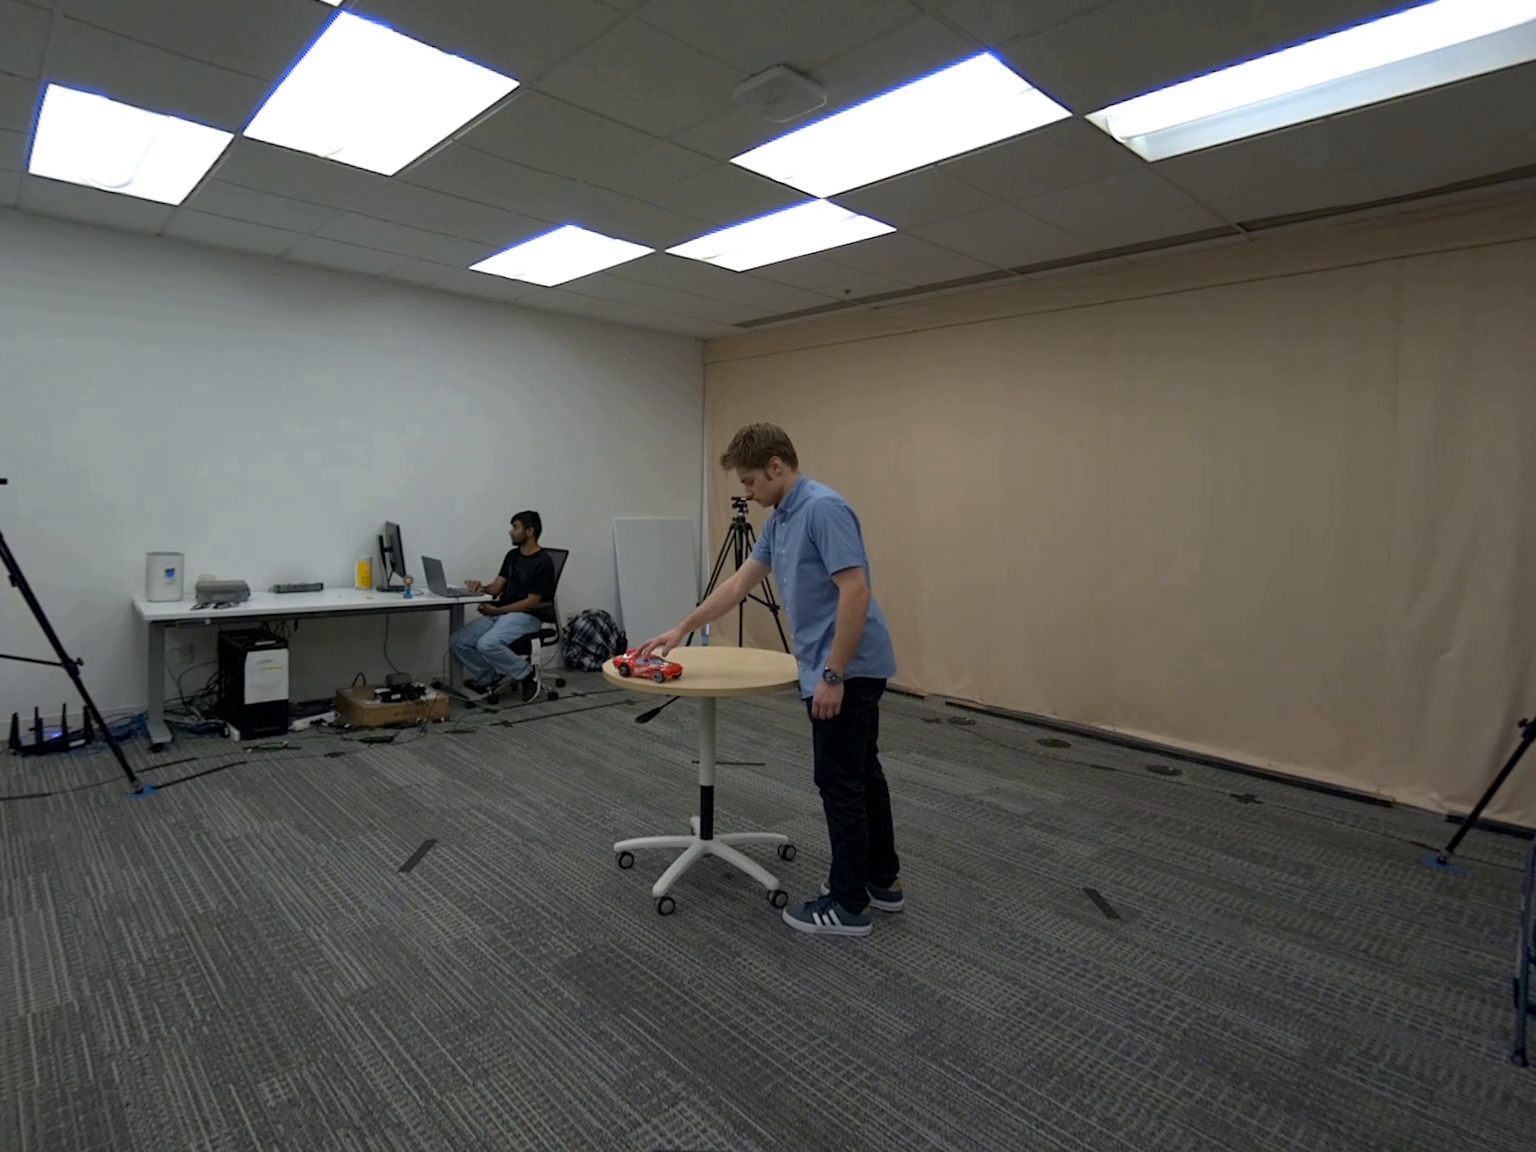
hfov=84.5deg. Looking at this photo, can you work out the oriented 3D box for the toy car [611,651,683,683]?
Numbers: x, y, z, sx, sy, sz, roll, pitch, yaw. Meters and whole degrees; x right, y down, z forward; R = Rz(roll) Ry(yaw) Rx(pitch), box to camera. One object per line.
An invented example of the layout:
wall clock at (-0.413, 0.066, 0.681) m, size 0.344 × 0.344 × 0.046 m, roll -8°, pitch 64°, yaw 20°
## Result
toy car at (-0.418, 0.310, 2.859) m, size 0.261 × 0.083 × 0.128 m, roll 17°, pitch 13°, yaw 32°
